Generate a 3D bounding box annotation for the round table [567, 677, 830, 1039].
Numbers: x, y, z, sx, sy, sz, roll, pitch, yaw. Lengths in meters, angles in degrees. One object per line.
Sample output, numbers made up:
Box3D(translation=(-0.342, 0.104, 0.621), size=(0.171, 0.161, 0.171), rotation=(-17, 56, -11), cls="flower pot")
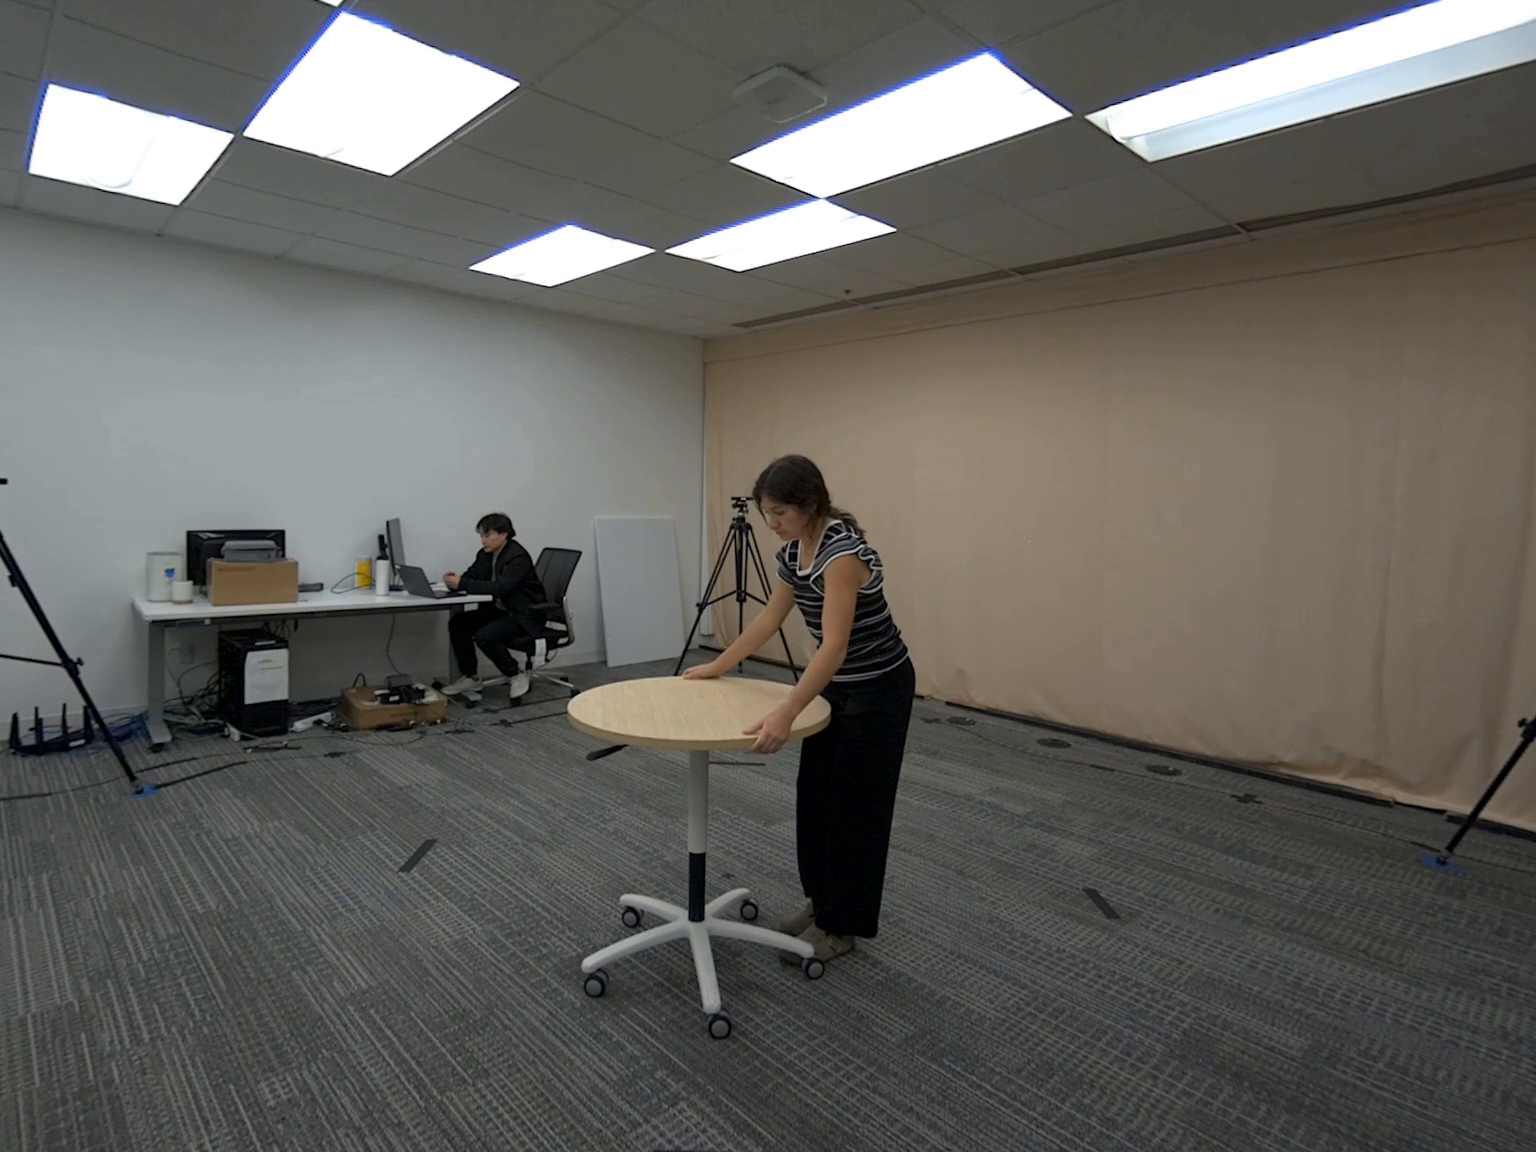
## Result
Box3D(translation=(-0.208, 0.770, 2.489), size=(0.763, 0.792, 0.766), rotation=(1, 4, -1), cls="round table")
